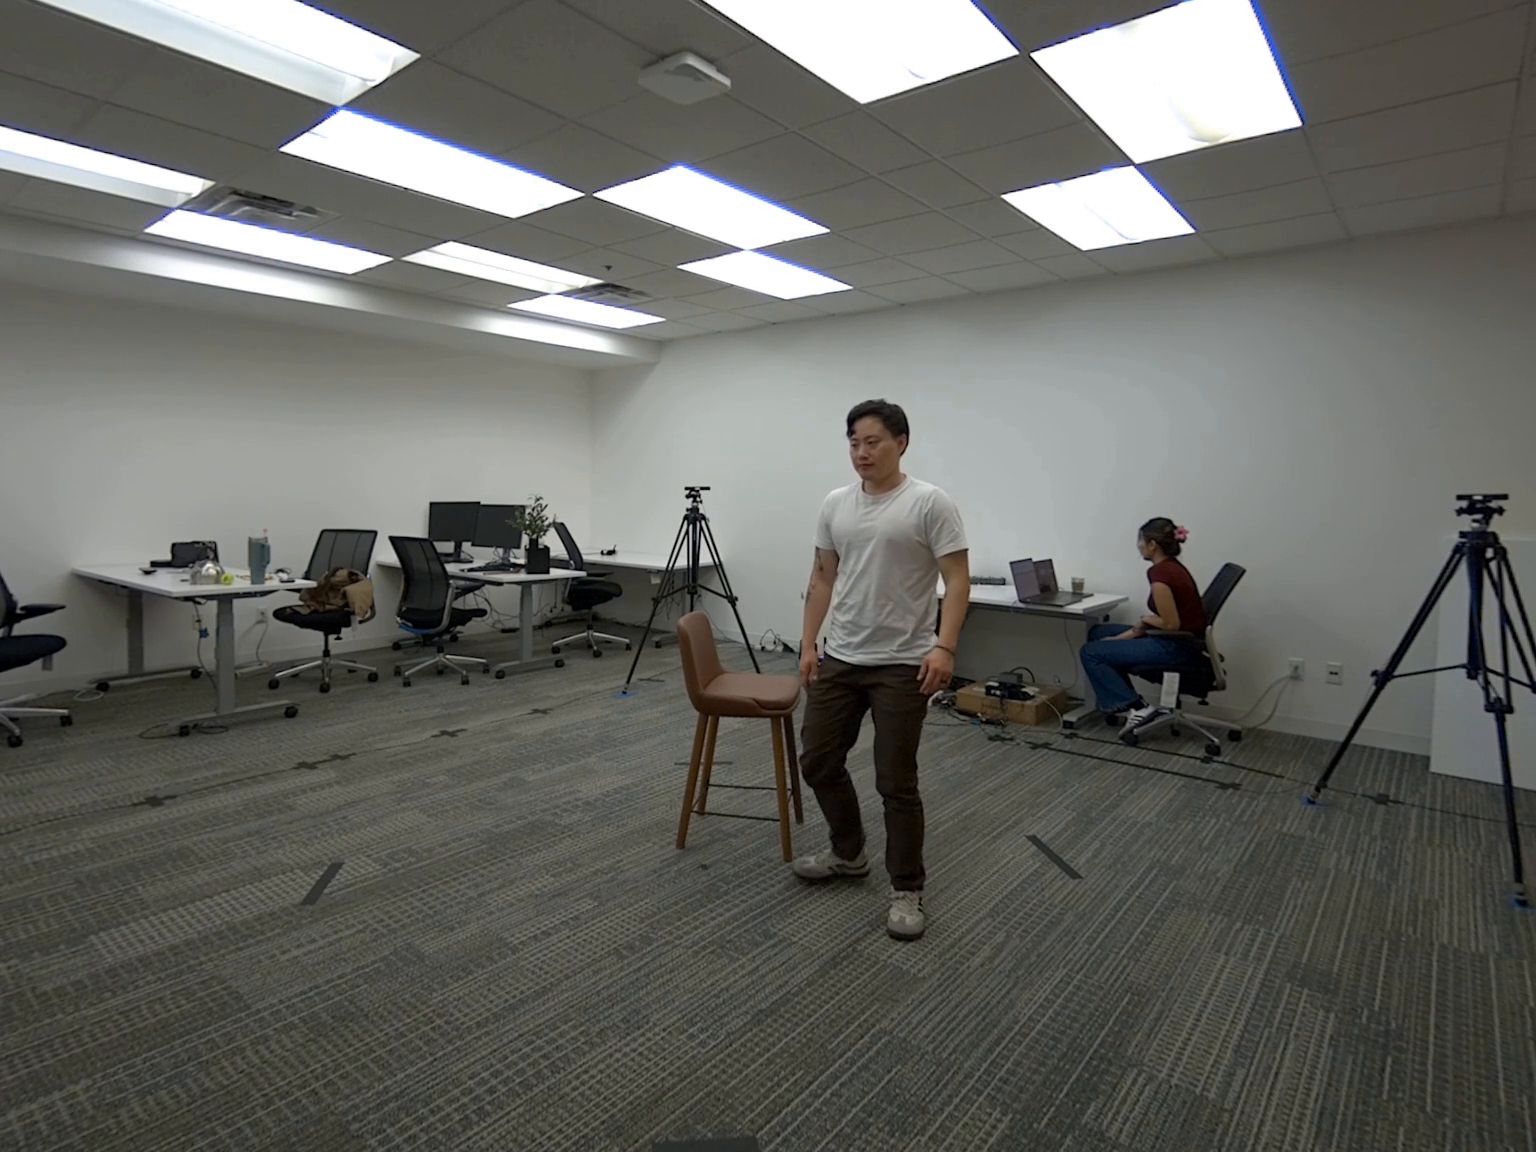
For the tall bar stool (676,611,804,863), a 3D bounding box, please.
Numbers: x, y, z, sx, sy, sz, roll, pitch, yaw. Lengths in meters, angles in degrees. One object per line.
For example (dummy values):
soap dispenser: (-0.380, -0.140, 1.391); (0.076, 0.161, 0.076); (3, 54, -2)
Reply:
tall bar stool: (-0.114, 0.605, 3.396); (0.474, 0.888, 0.451); (0, 3, 12)
